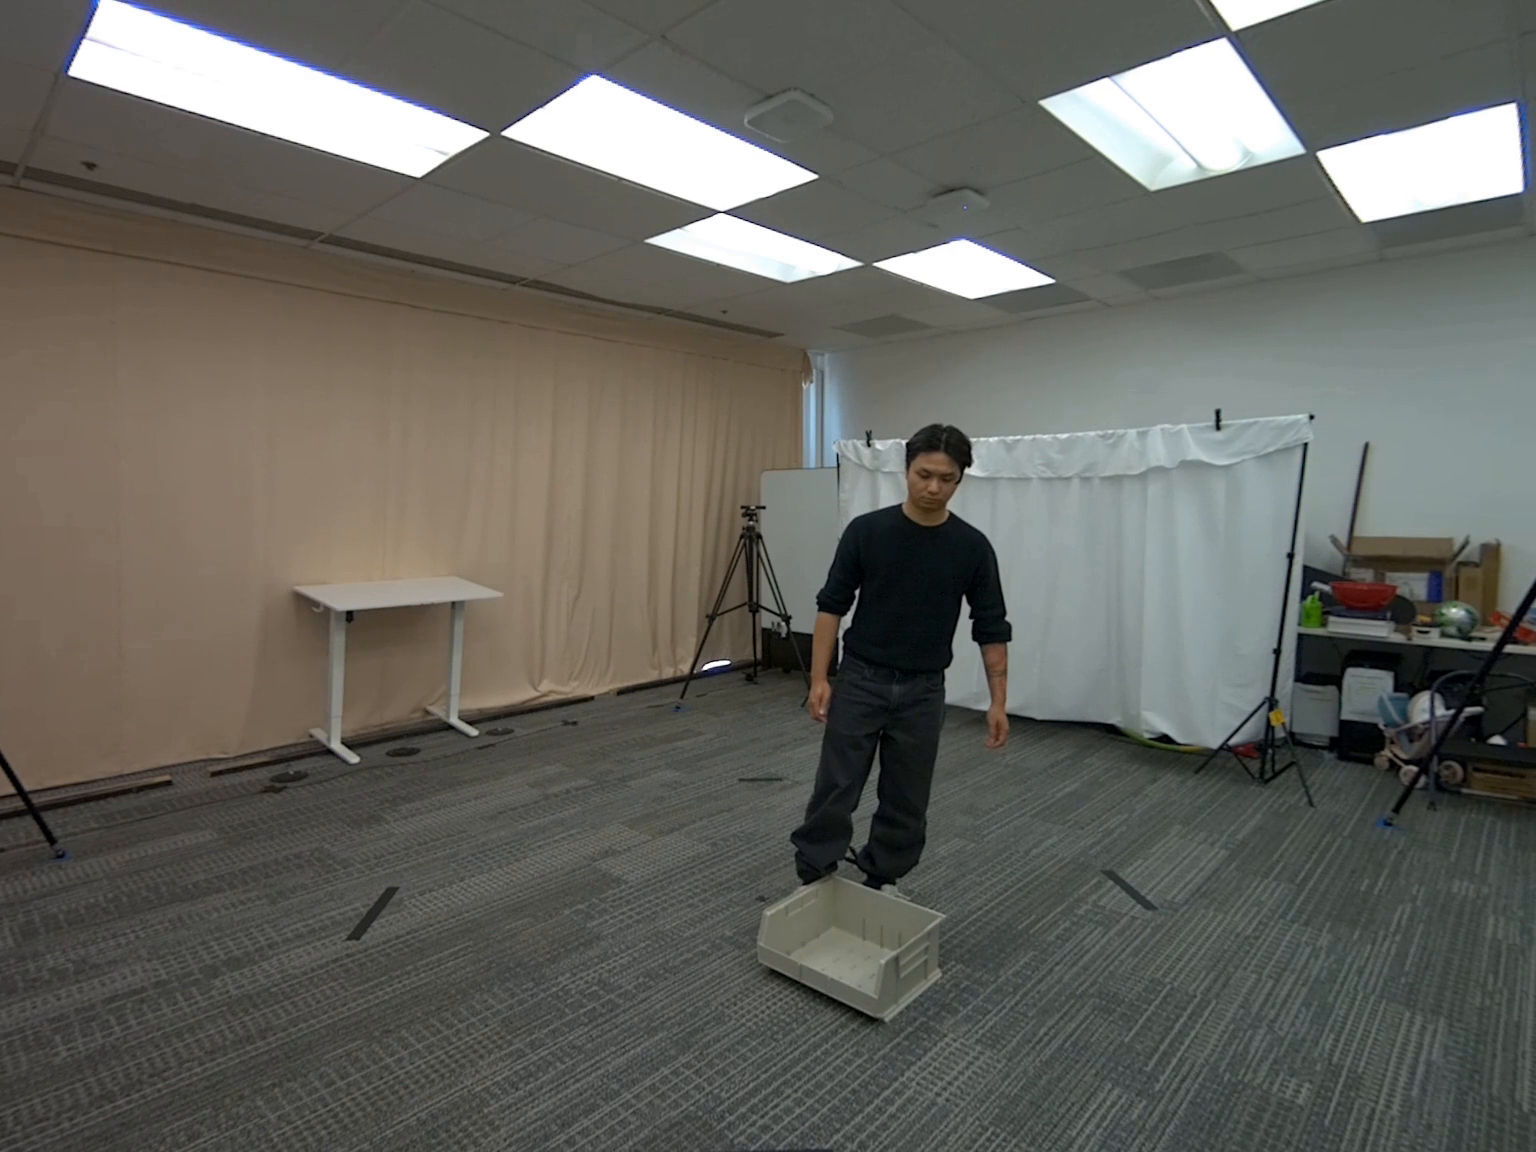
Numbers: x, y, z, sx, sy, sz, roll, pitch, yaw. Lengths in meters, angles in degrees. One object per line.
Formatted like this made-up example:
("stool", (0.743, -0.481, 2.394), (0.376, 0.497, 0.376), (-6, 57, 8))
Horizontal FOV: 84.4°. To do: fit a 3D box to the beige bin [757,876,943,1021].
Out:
("beige bin", (0.254, 1.100, 2.494), (0.436, 0.189, 0.365), (3, 3, 41))
